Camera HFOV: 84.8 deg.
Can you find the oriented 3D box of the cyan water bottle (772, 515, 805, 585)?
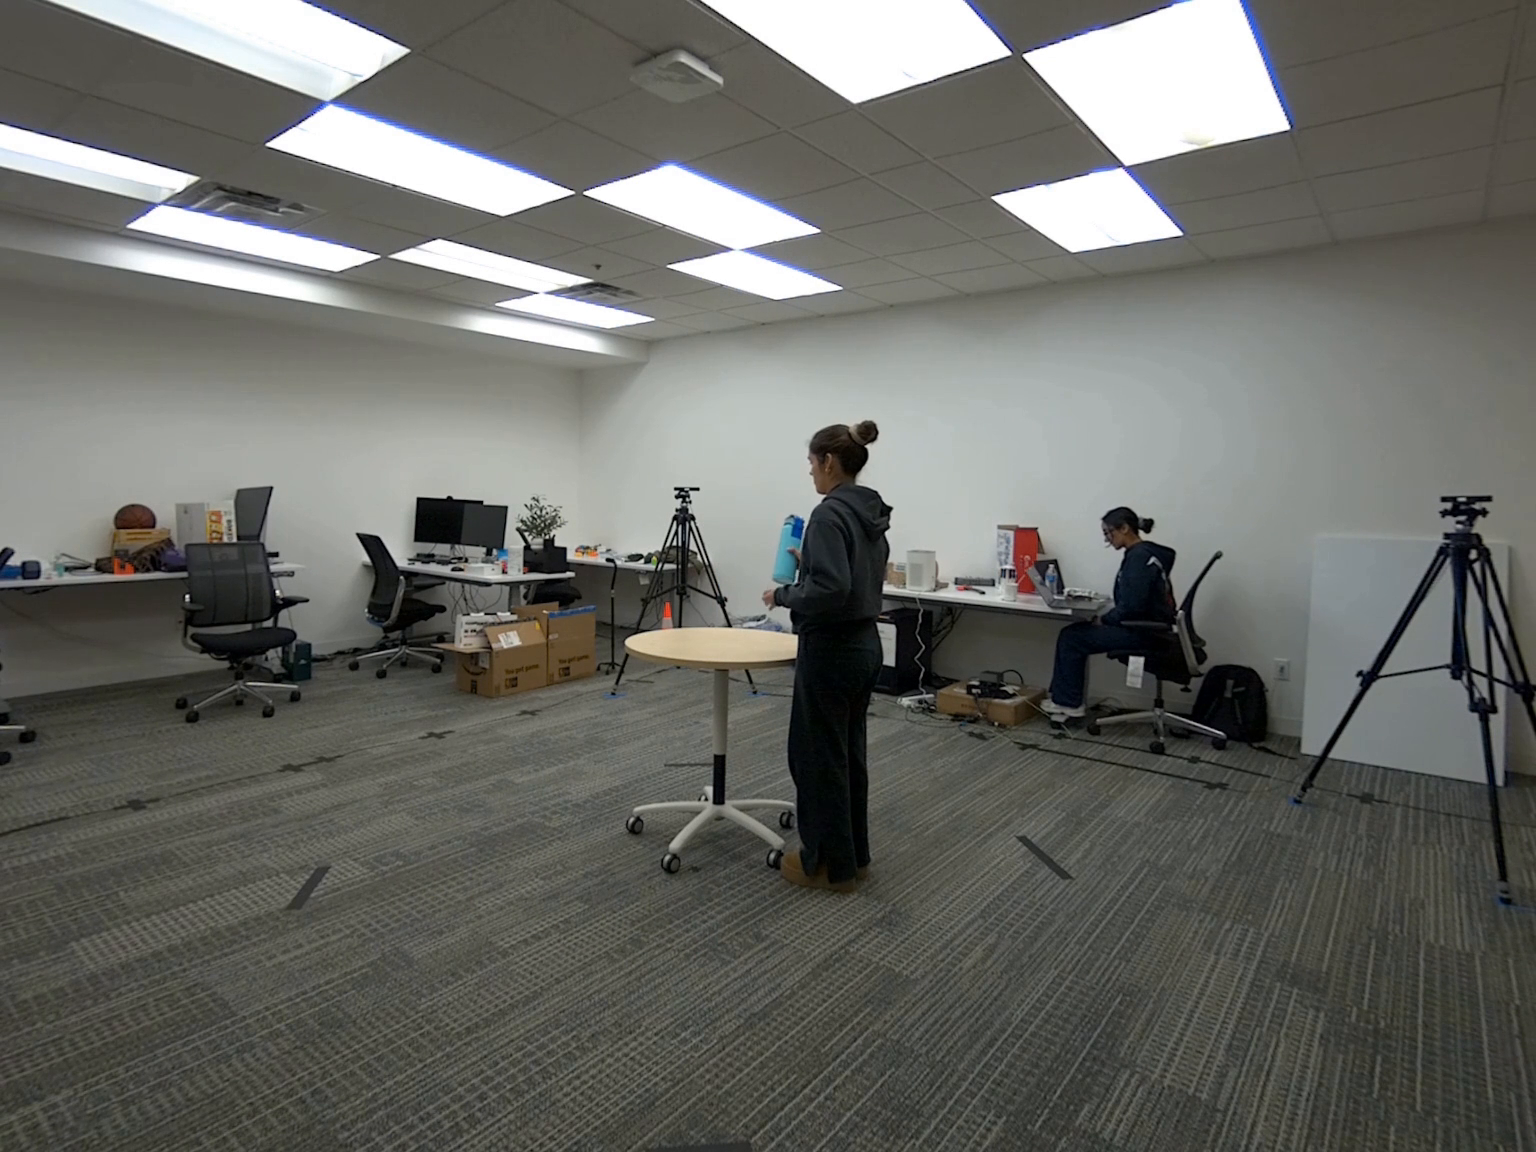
[{"bbox_3d":[0.075,-0.120,3.364,0.092,0.287,0.091,10,-17,1],"label":"cyan water bottle"}]
